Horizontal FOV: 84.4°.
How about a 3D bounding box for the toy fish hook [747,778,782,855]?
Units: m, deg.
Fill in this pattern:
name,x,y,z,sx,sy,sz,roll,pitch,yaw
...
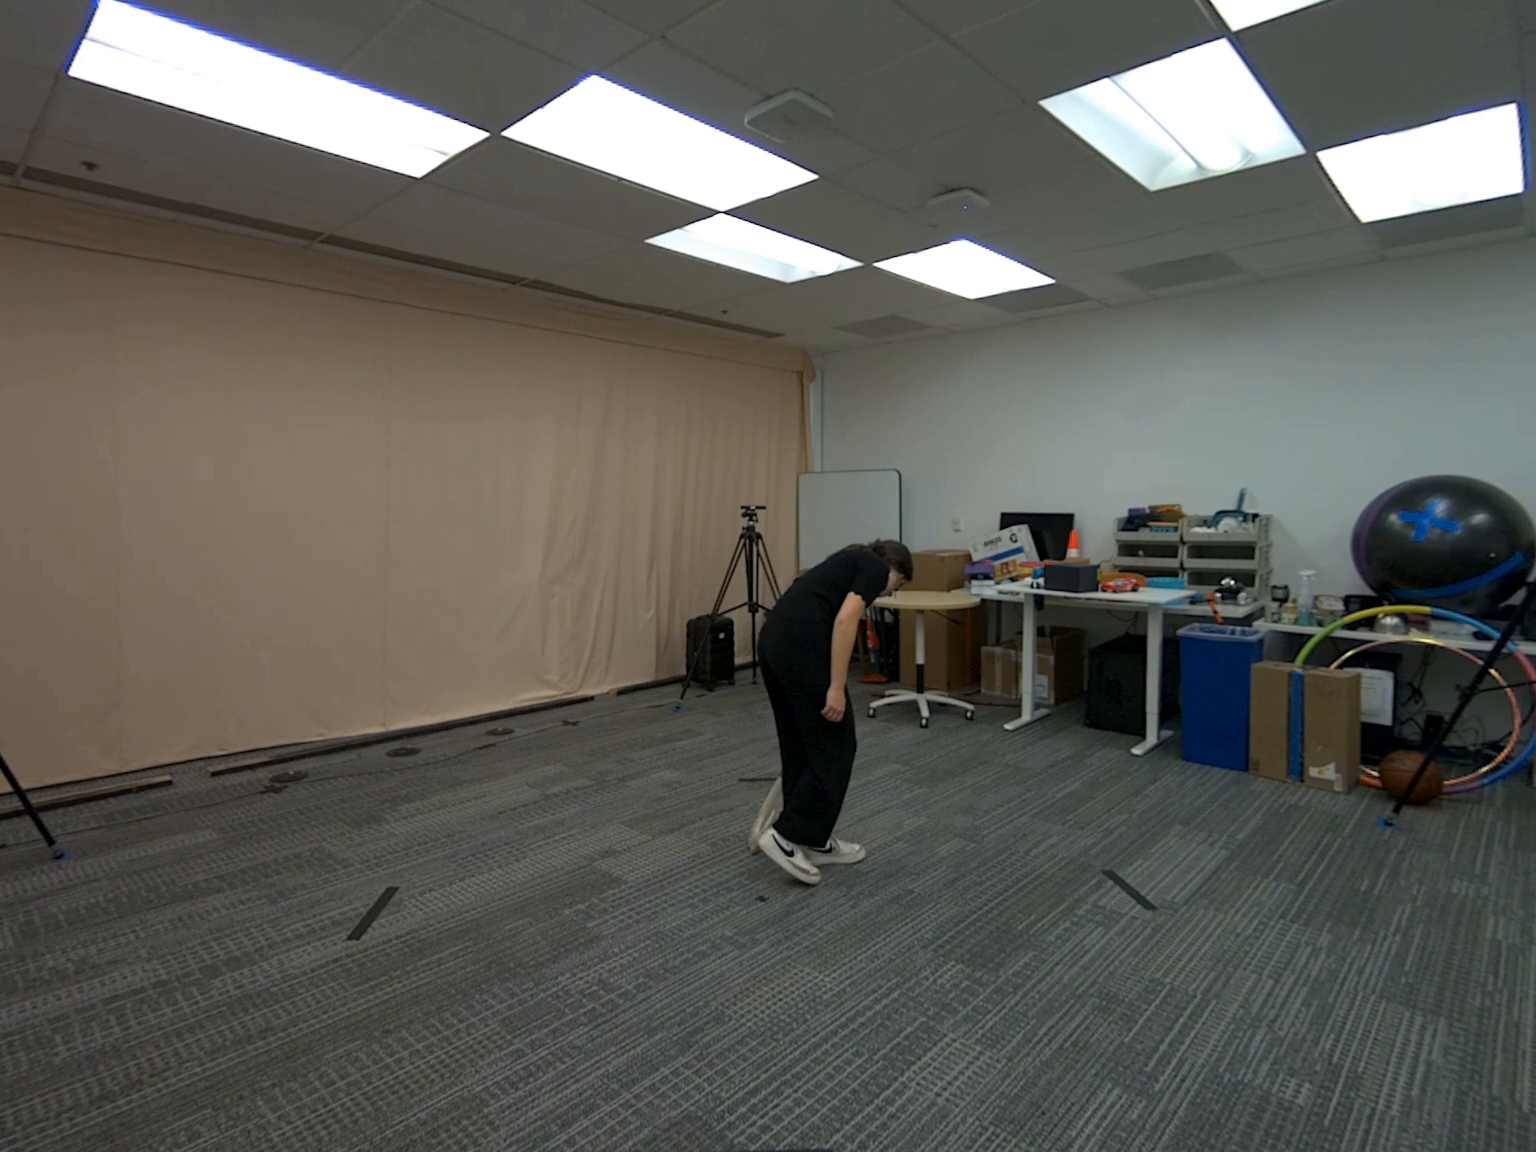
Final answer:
name,x,y,z,sx,sy,sz,roll,pitch,yaw
toy fish hook,0.049,0.880,3.417,0.048,0.507,0.226,26,-4,-8
